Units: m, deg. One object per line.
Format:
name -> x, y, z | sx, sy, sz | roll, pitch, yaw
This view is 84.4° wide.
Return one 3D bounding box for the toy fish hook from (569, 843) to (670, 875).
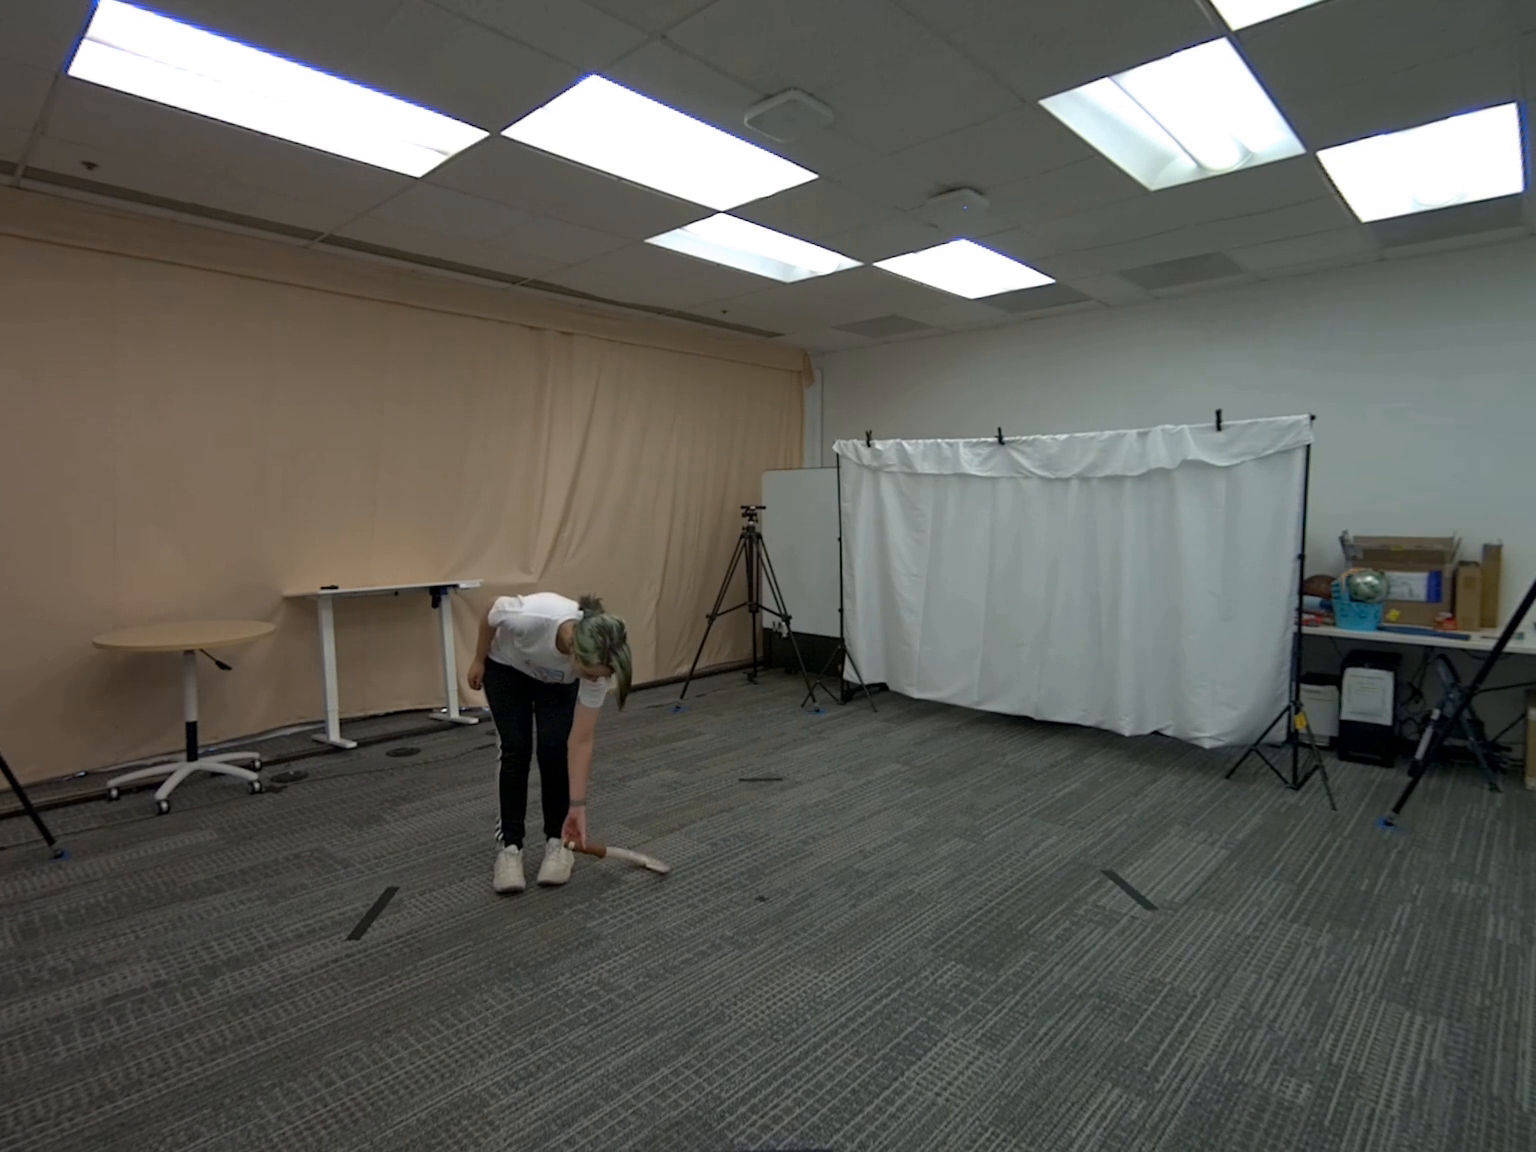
toy fish hook -> -0.539, 1.029, 3.066 | 0.231, 0.048, 0.488 | 3, -19, 33
